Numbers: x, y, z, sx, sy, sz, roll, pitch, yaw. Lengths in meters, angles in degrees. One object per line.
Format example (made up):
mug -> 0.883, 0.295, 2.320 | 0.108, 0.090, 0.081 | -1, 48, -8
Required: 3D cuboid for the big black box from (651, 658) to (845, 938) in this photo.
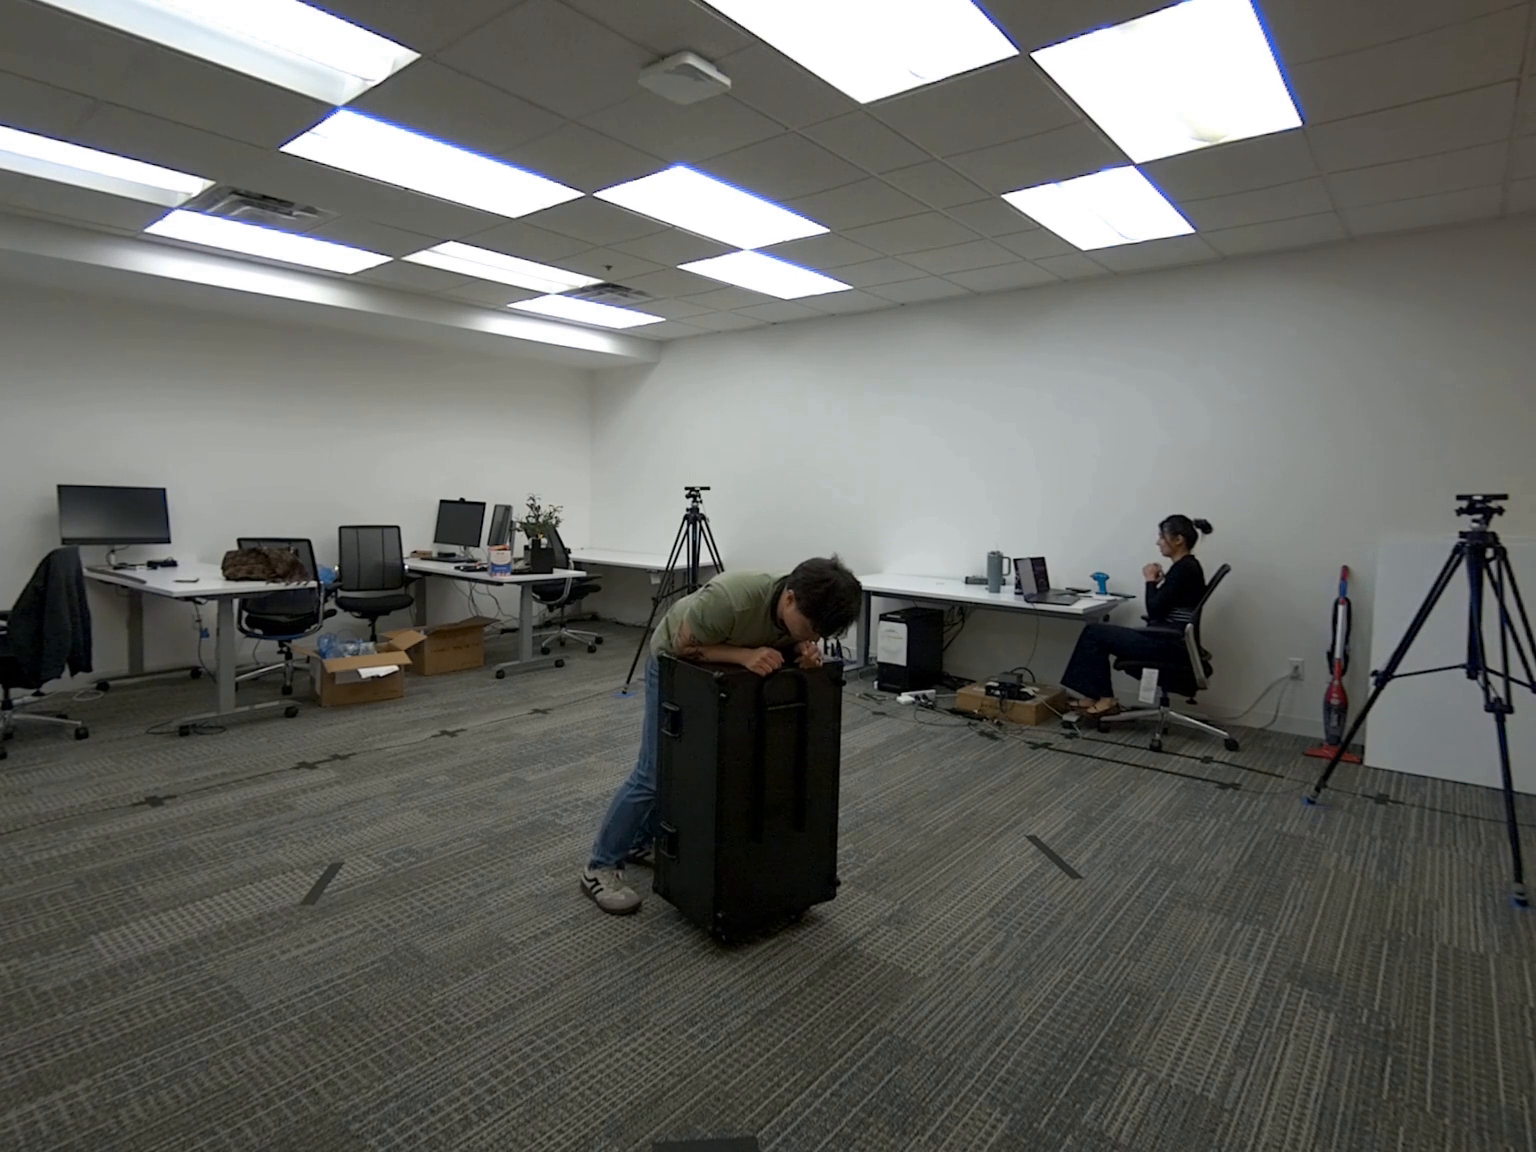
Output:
big black box -> -0.058, 0.684, 2.729 | 0.506, 0.858, 0.409 | -1, 5, -34
